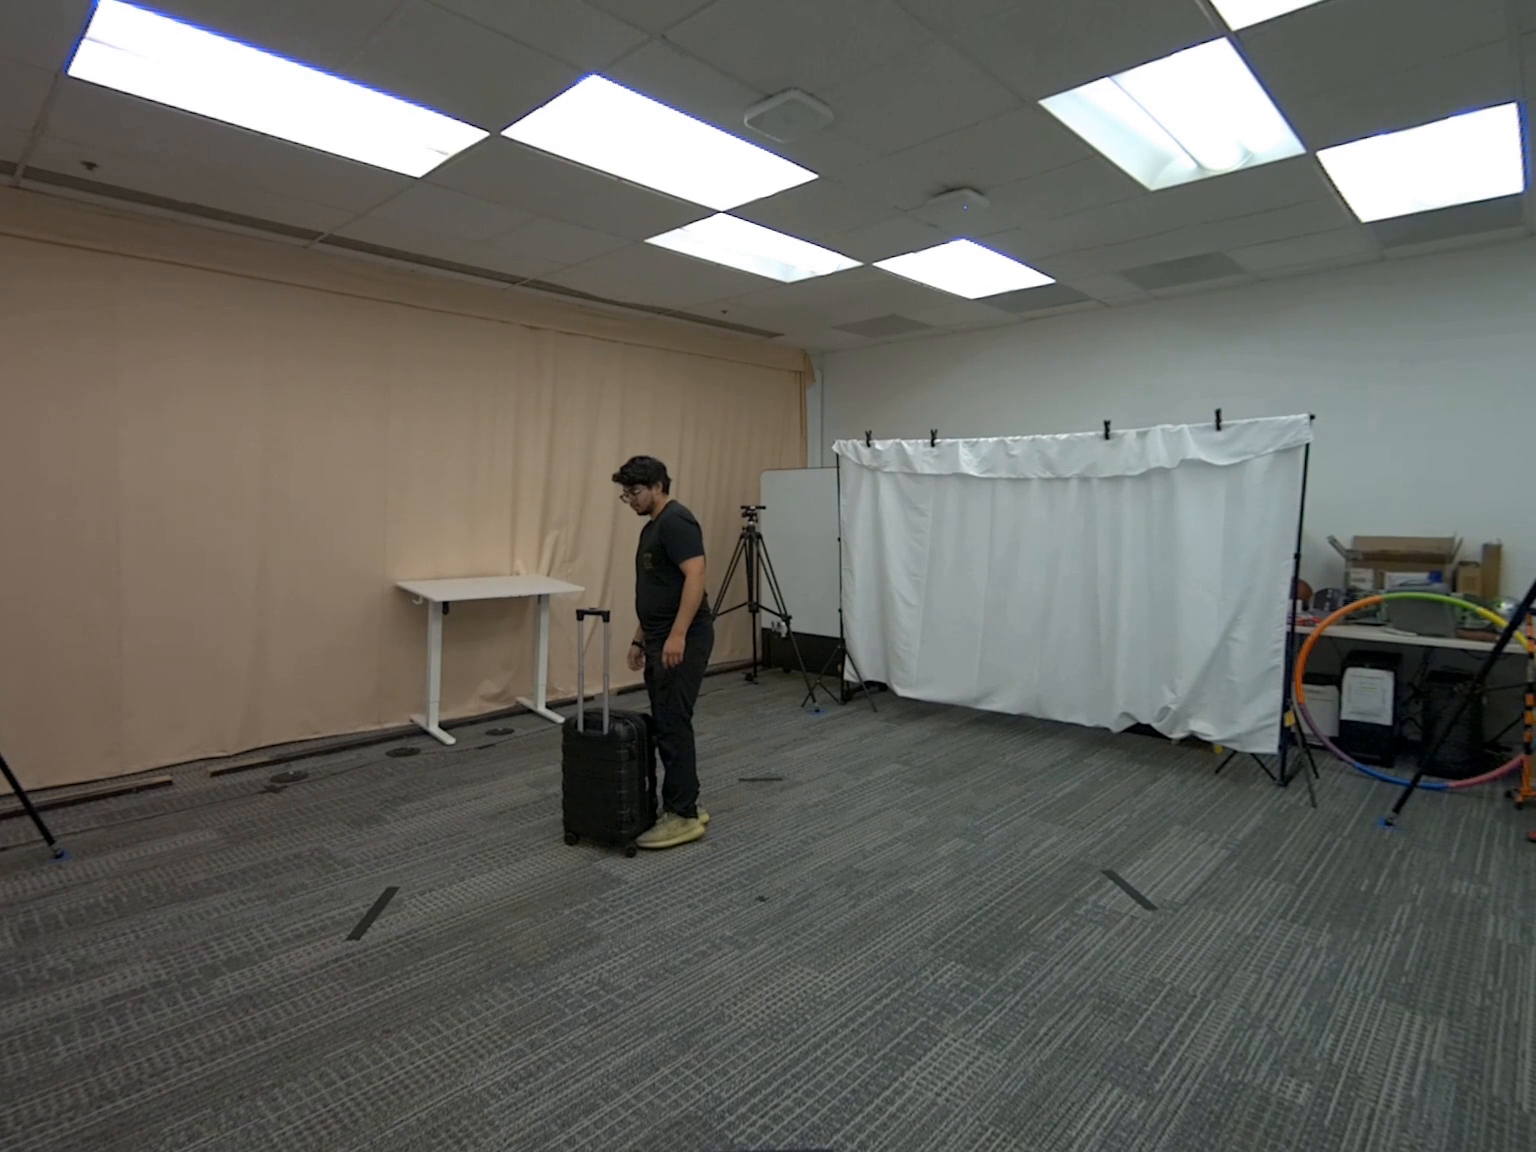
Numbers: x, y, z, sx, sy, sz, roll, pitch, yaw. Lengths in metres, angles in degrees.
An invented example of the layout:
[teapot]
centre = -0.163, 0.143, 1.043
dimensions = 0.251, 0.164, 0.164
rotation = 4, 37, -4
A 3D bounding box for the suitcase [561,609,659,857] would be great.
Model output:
[suitcase]
centre = -0.670, 0.625, 3.500
dimensions = 0.394, 0.978, 0.250
rotation = 1, 1, 27
